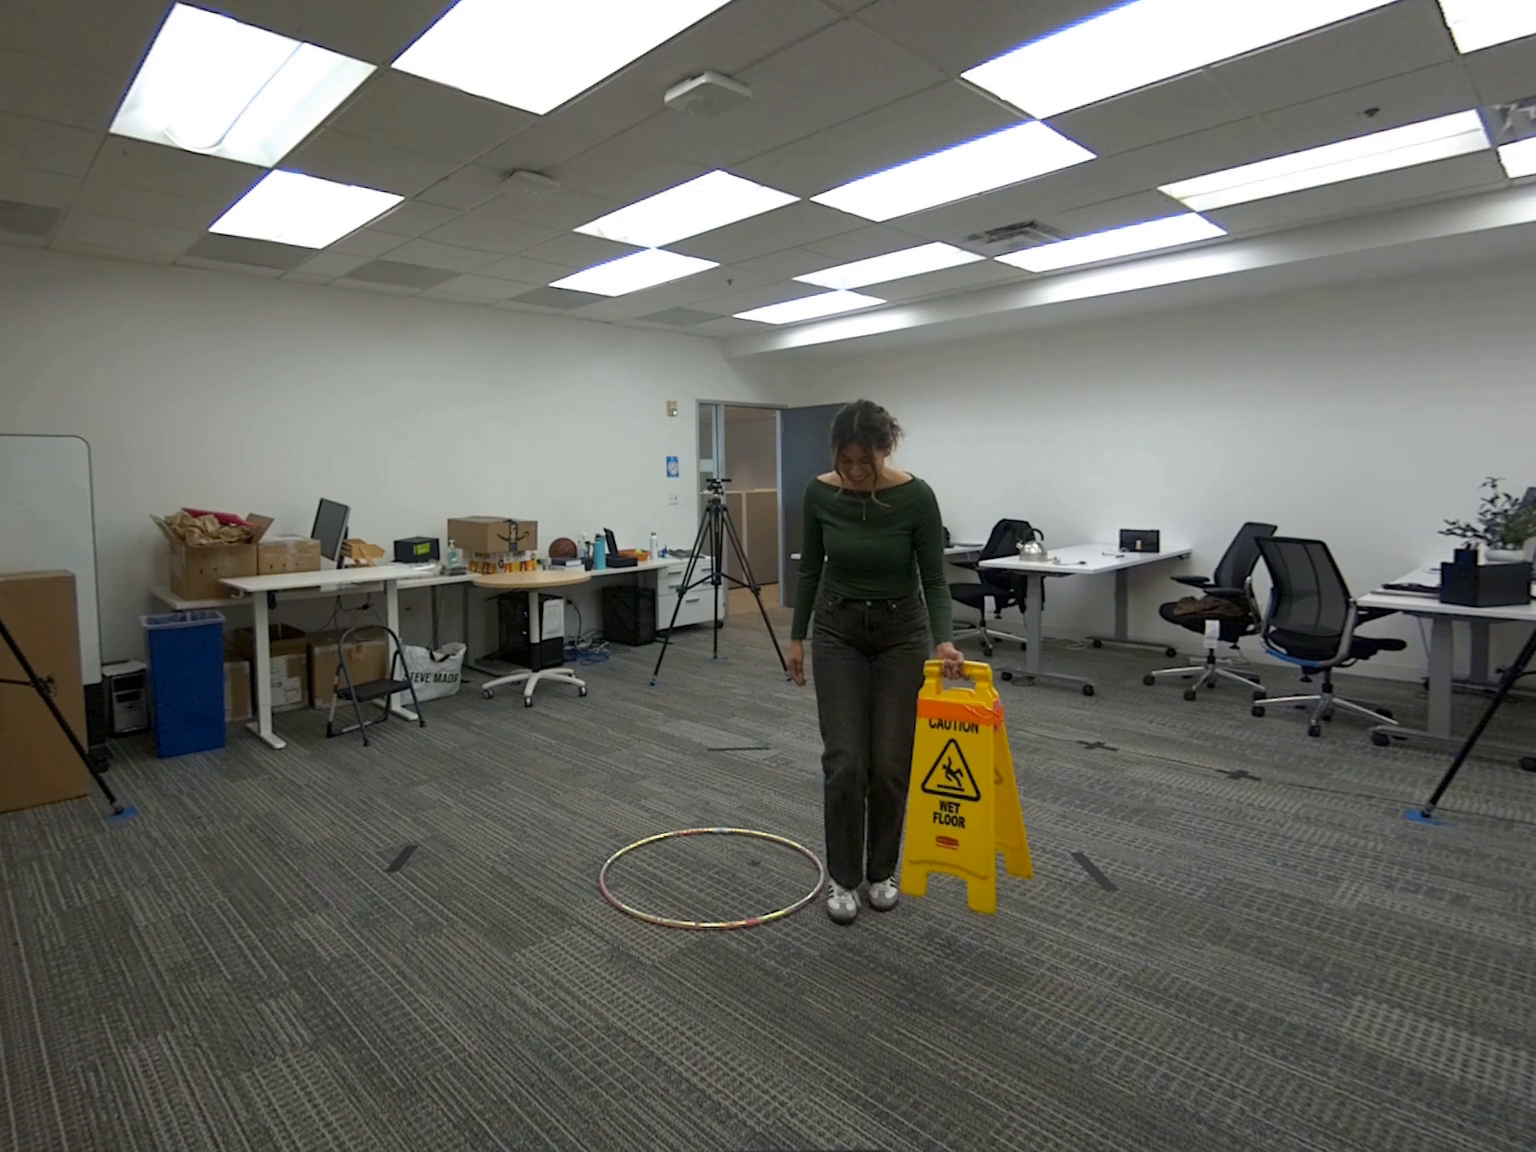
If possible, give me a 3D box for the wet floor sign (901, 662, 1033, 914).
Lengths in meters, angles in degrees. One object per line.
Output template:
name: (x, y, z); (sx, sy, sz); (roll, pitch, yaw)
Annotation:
wet floor sign: (0.563, 0.574, 2.465); (0.290, 0.647, 0.282); (-4, -1, 38)
